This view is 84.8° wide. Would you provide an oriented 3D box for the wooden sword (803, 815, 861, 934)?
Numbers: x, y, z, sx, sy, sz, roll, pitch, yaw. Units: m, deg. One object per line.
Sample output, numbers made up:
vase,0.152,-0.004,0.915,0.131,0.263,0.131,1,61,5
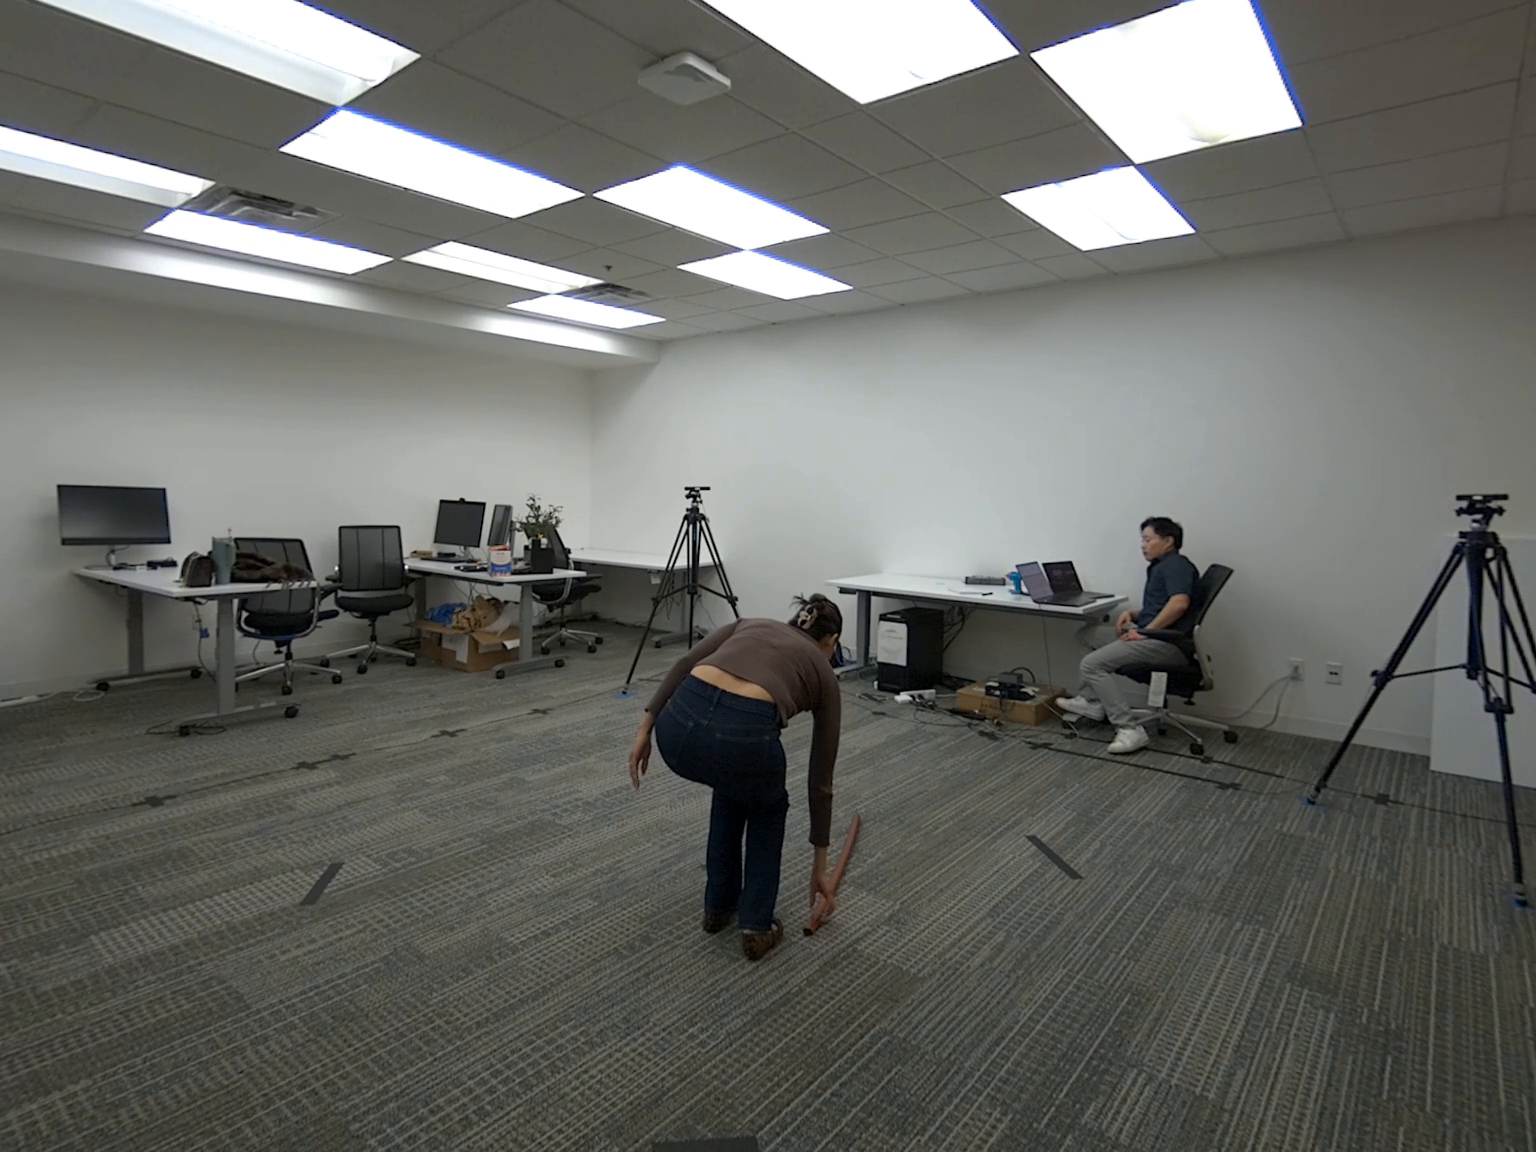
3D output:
wooden sword,0.251,1.039,3.123,0.052,0.024,1.012,-6,3,14
